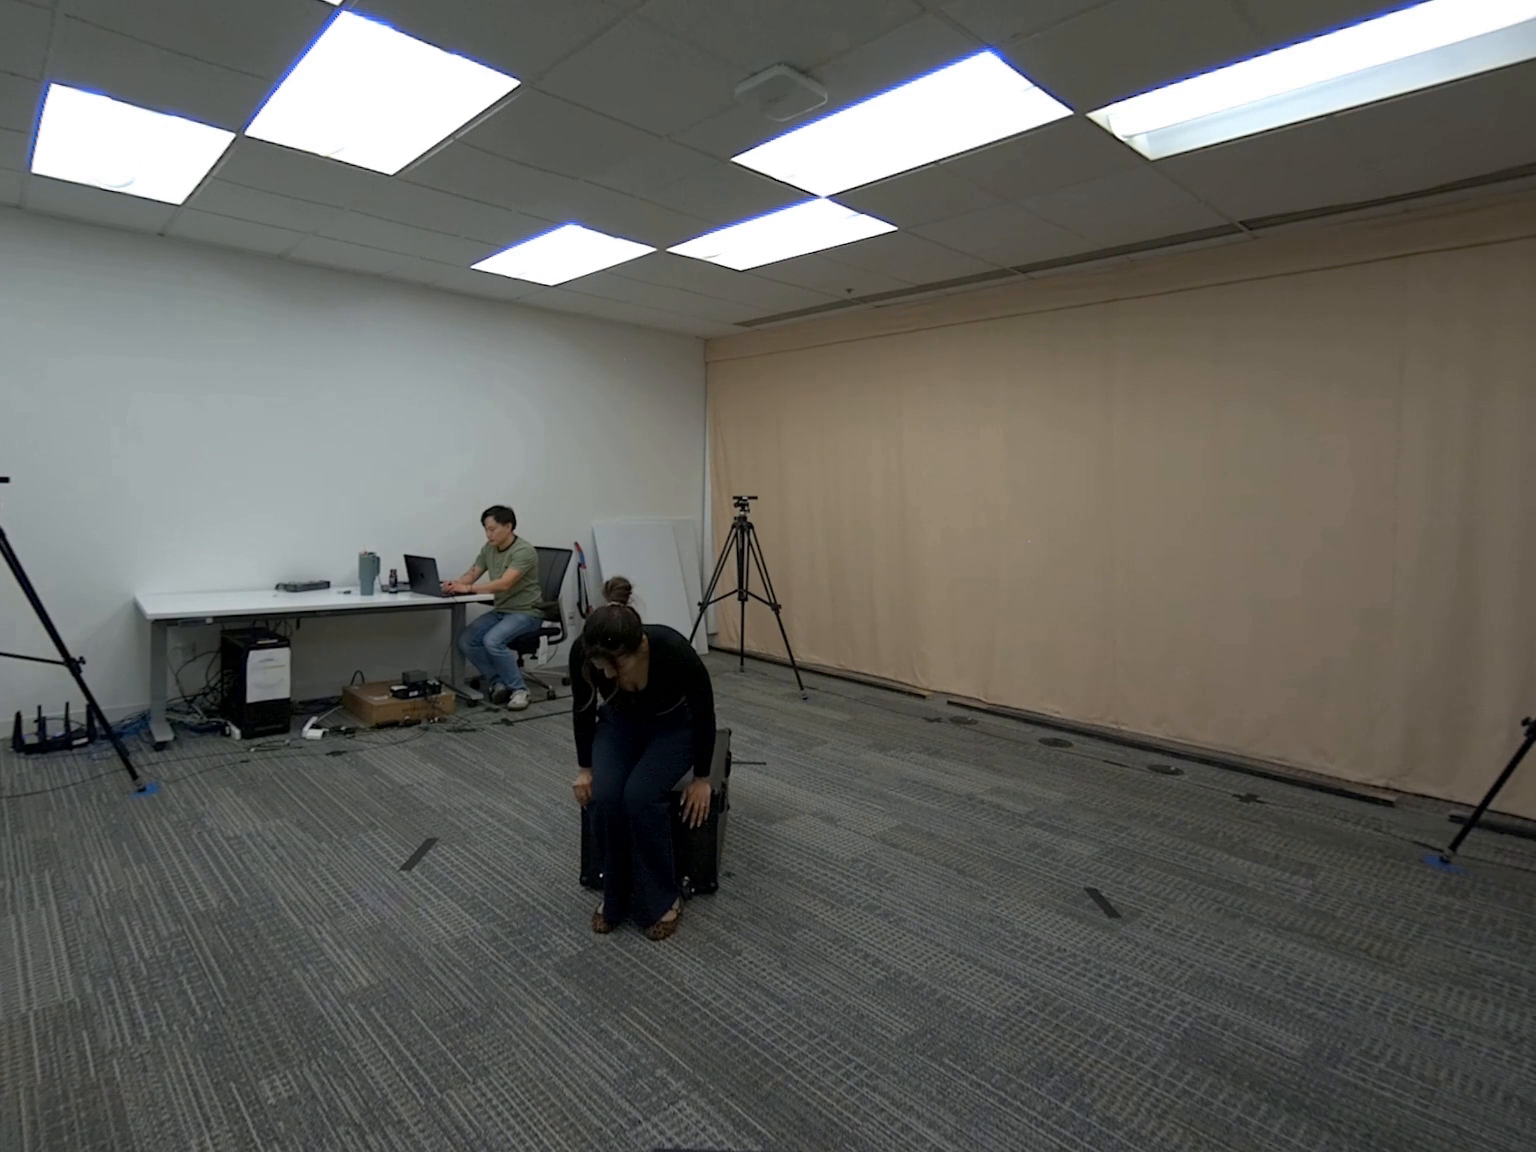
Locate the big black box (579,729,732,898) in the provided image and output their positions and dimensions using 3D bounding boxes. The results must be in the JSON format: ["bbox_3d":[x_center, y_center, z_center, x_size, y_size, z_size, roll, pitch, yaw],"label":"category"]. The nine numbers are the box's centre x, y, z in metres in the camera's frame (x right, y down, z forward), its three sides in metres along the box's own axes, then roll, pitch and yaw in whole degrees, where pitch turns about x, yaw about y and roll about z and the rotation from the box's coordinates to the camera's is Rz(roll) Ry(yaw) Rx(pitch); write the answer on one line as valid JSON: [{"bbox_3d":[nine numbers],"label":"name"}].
[{"bbox_3d":[-0.418,0.889,3.280,0.522,0.395,0.863,2,5,1],"label":"big black box"}]
